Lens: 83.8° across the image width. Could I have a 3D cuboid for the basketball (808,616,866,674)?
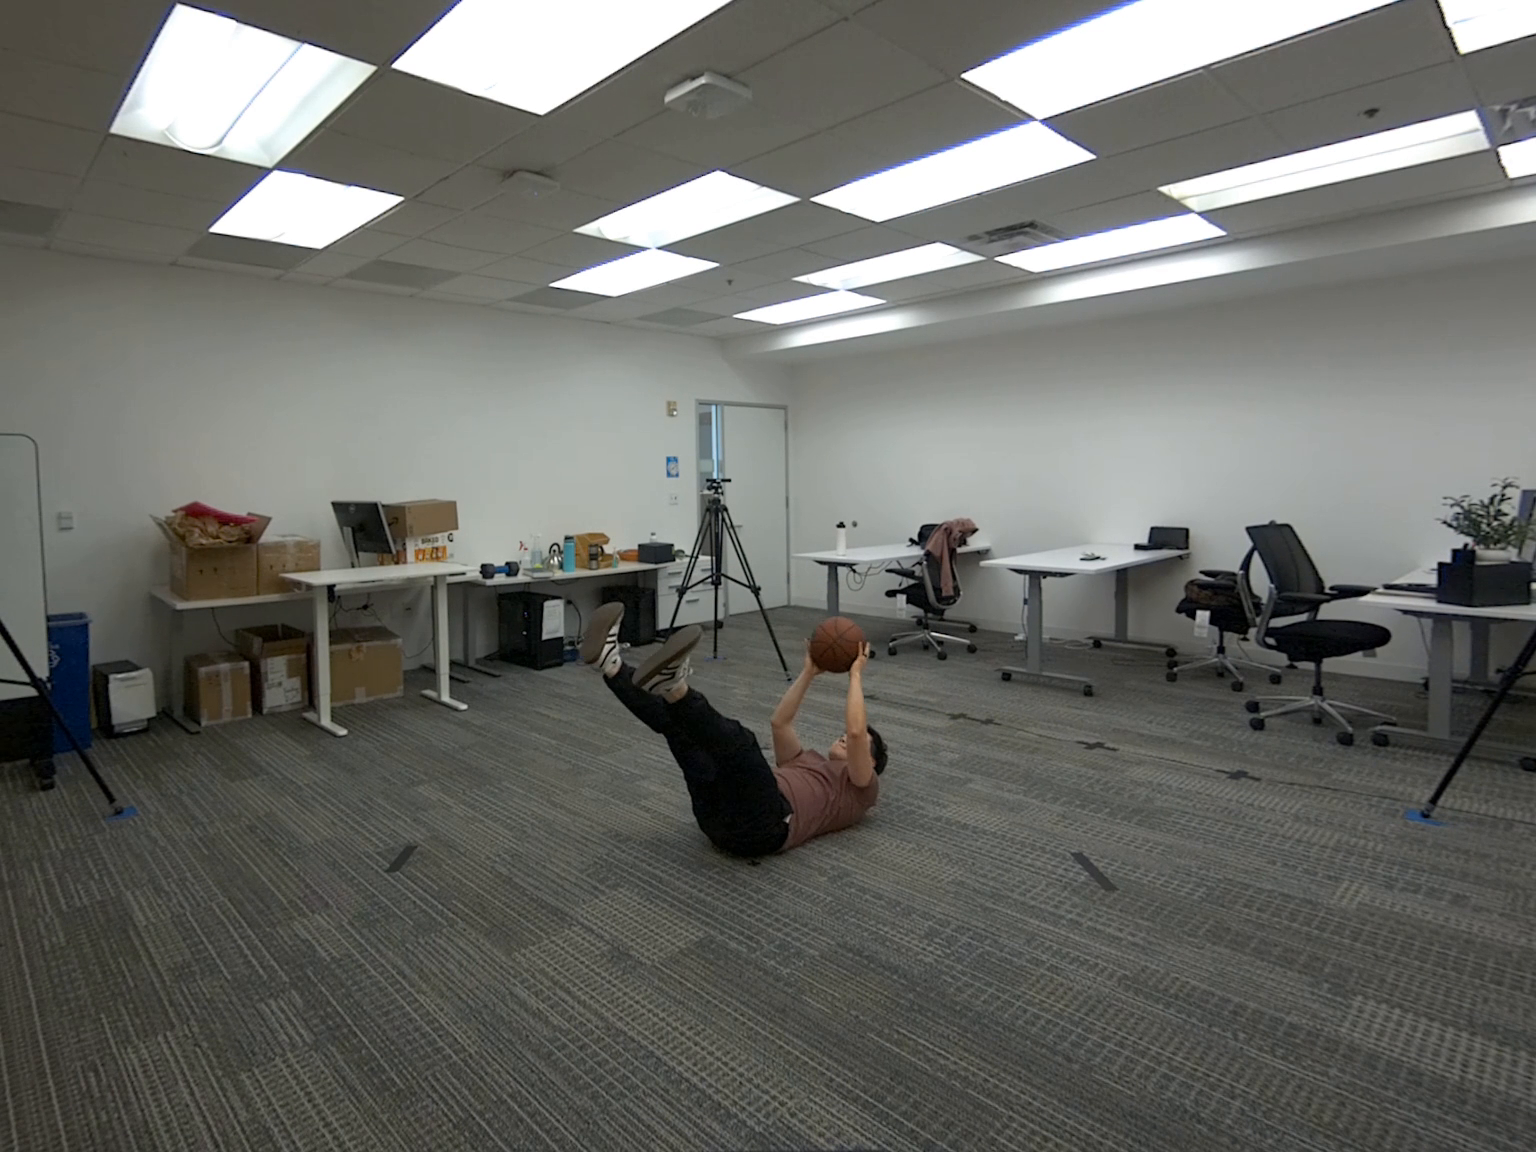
[{"bbox_3d":[0.299,0.297,3.594,0.236,0.235,0.237,-2,5,-2],"label":"basketball"}]
